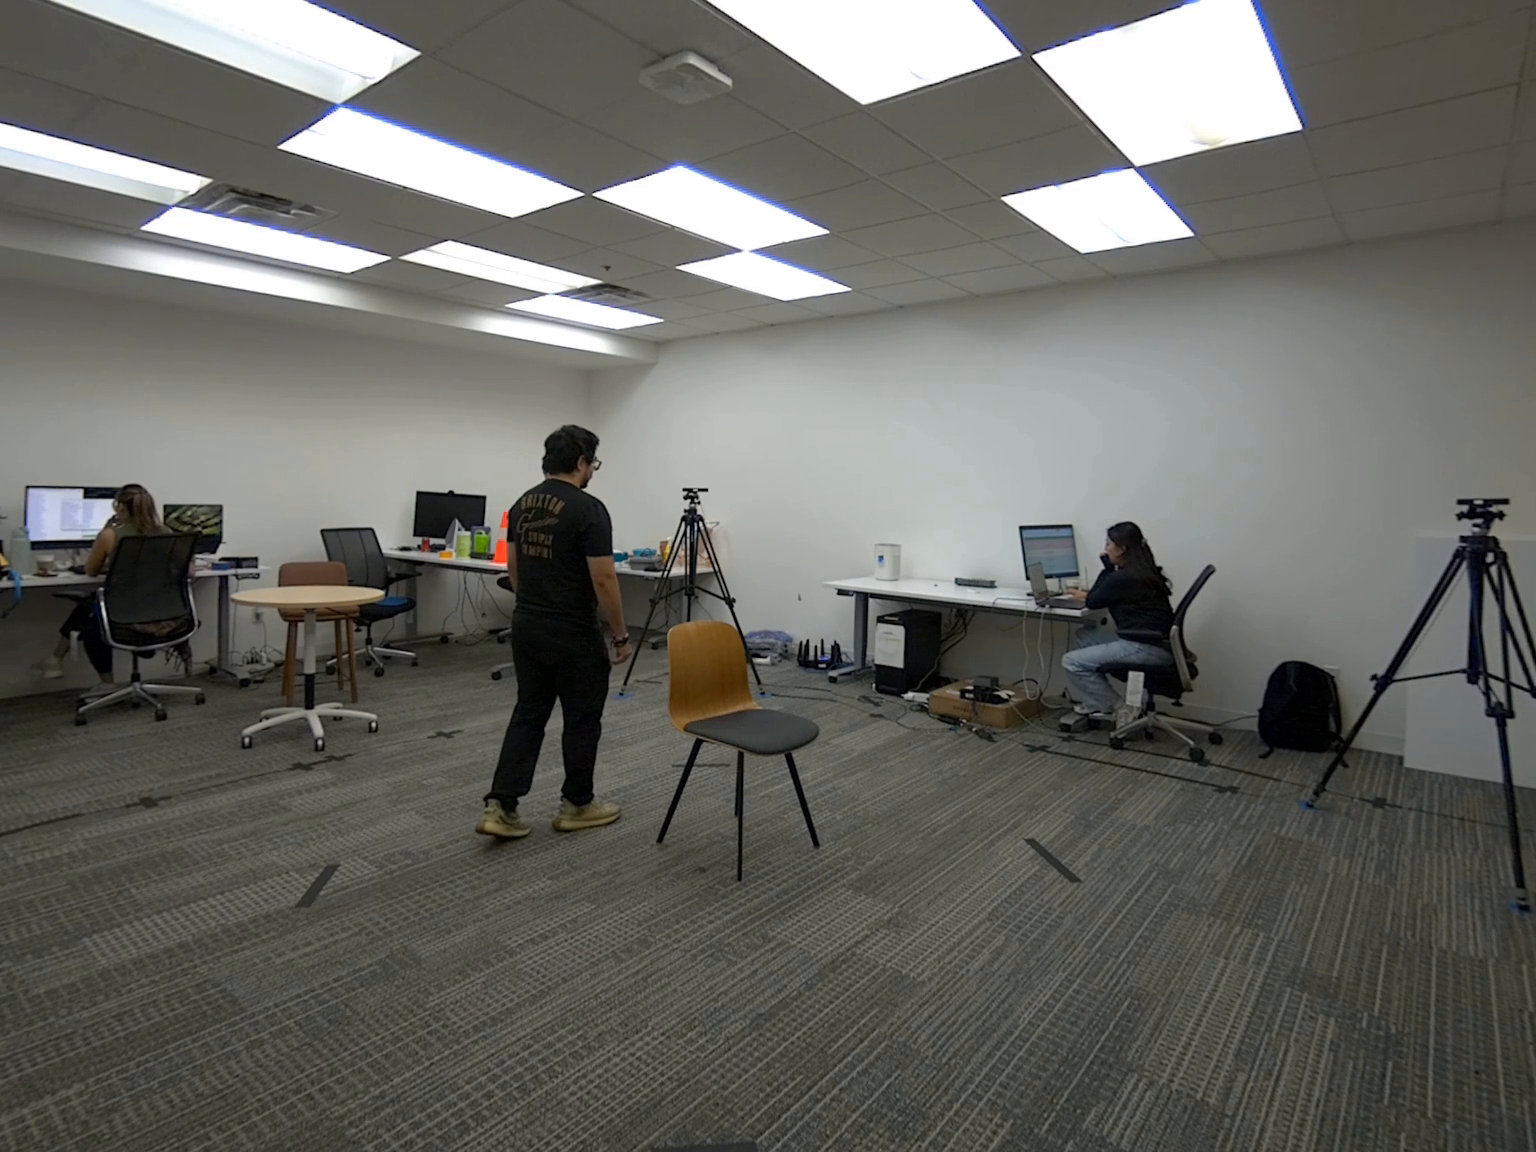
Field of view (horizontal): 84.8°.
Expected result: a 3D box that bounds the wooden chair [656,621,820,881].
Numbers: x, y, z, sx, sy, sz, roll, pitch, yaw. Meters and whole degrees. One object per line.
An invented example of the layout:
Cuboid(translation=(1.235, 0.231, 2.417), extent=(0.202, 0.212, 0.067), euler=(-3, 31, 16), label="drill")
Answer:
Cuboid(translation=(-0.109, 0.626, 3.299), extent=(0.539, 0.878, 0.463), euler=(-2, 0, 44), label="wooden chair")
